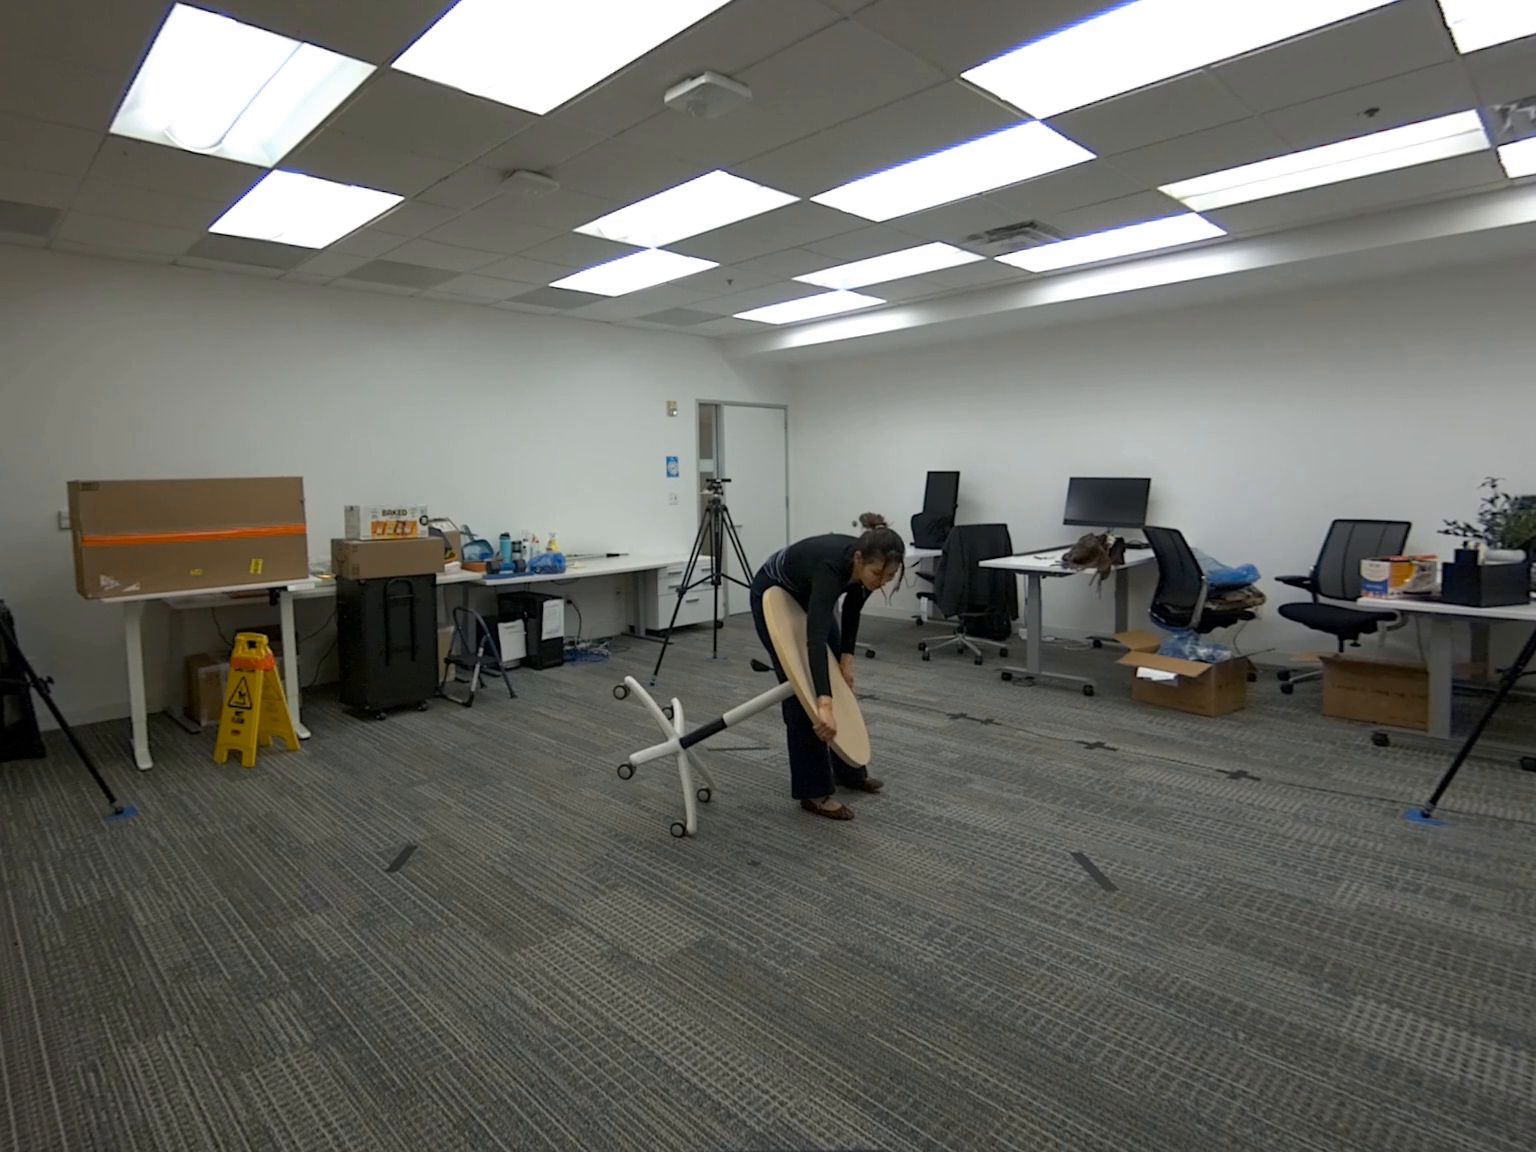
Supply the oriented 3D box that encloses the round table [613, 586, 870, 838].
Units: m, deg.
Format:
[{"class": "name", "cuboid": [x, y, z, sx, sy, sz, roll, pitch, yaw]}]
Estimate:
[{"class": "round table", "cuboid": [-0.136, 0.566, 3.440, 0.798, 0.767, 0.757, -30, -2, 14]}]
